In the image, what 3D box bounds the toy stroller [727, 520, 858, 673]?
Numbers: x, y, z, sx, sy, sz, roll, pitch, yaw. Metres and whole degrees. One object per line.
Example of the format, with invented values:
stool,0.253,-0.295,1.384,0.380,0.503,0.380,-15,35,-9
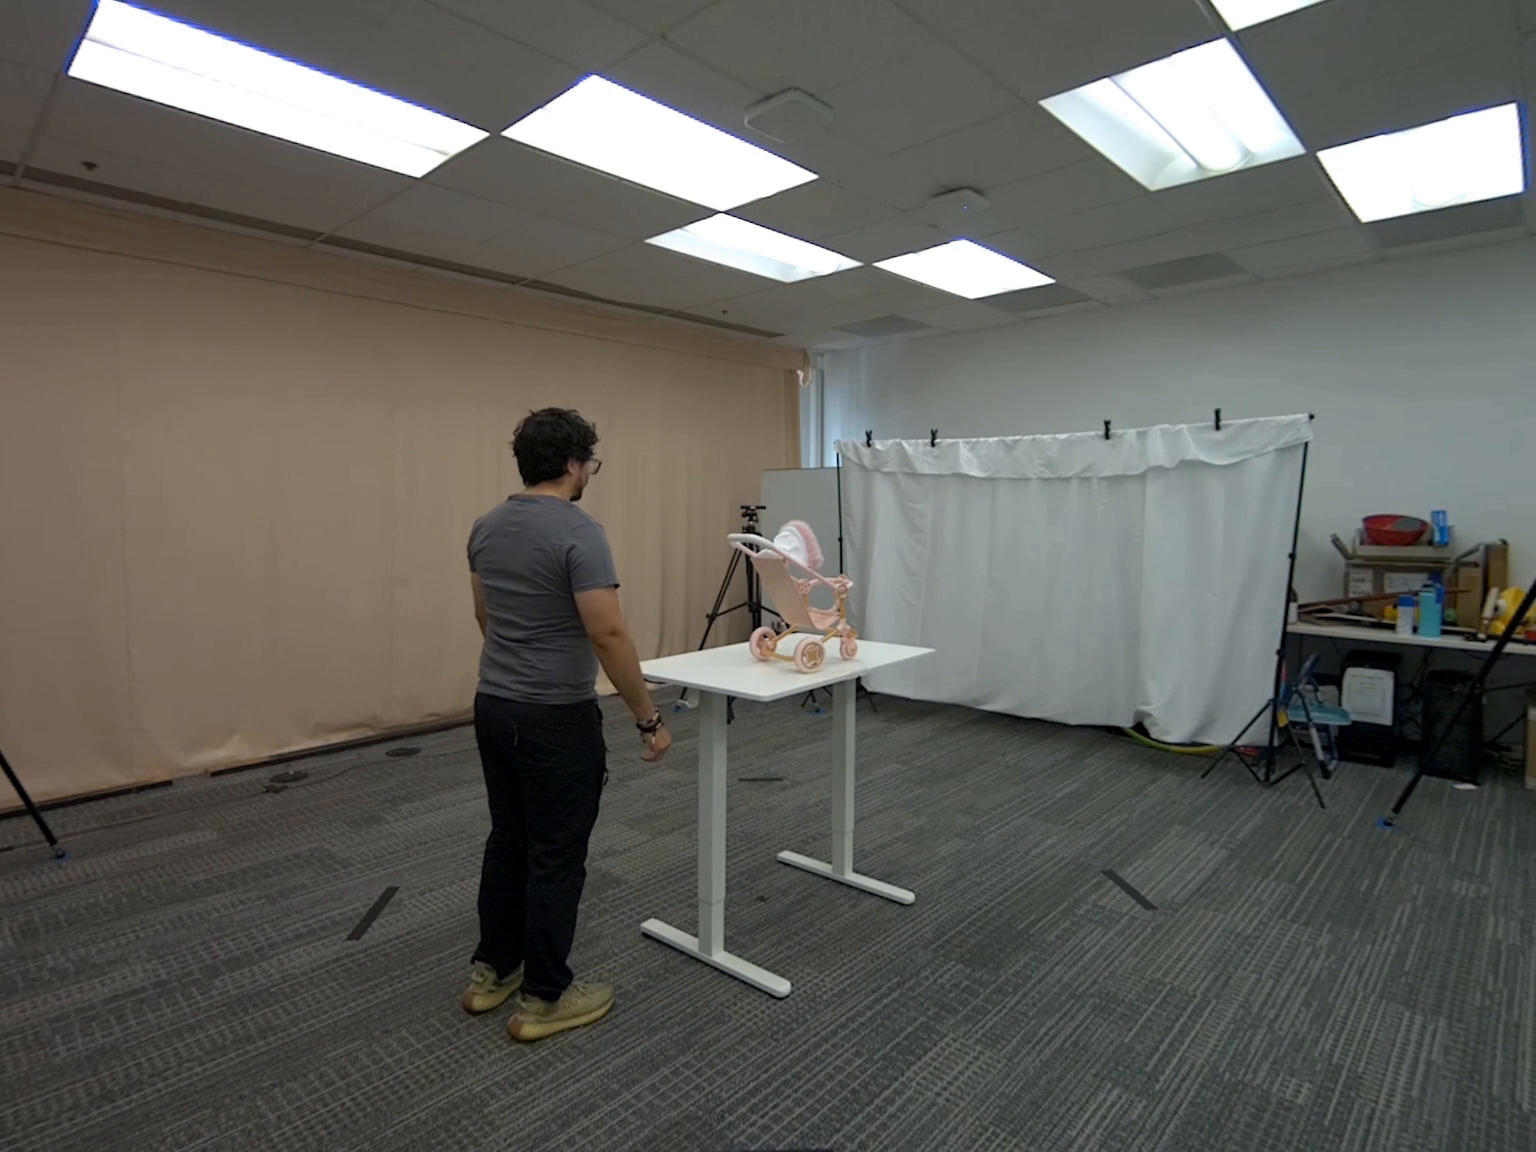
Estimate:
toy stroller,0.112,0.064,2.679,0.335,0.530,0.289,-20,11,-25
